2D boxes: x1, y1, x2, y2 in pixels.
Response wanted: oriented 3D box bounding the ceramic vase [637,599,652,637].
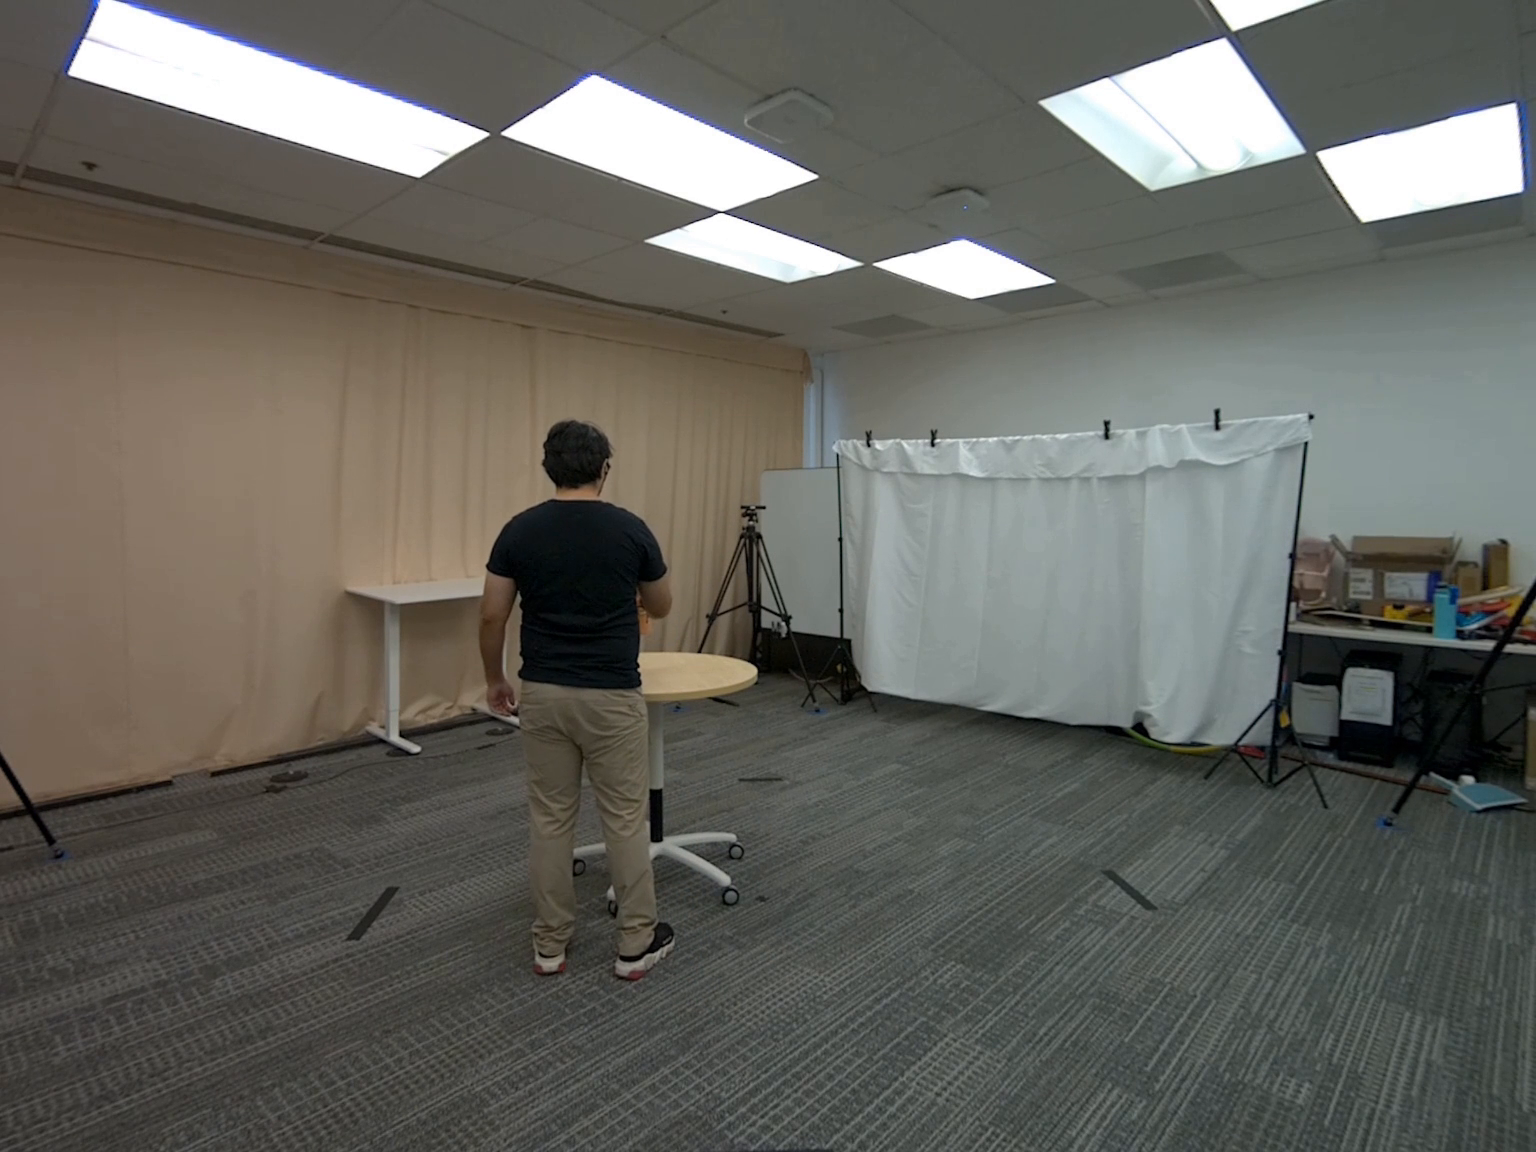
[{"bbox_3d":[-0.476,0.101,3.097,0.138,0.219,0.156,5,9,20],"label":"ceramic vase"}]
